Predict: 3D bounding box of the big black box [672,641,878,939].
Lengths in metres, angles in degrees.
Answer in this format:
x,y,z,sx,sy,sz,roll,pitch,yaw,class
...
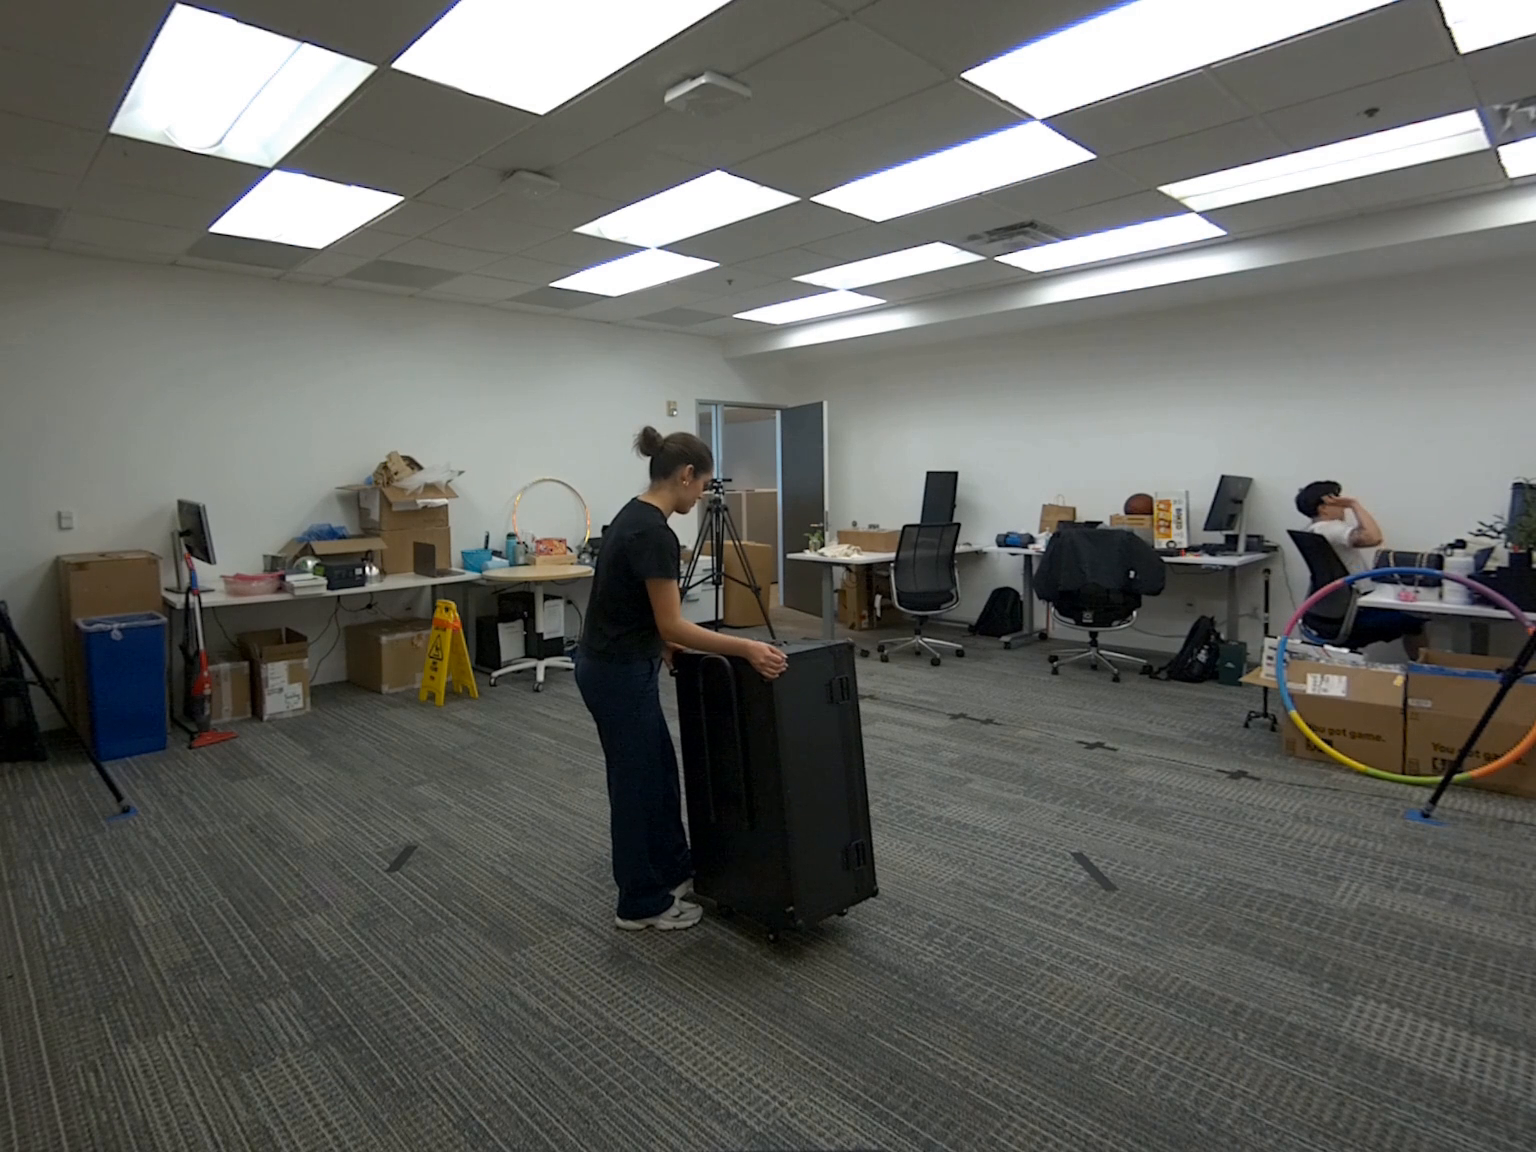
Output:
x,y,z,sx,sy,sz,roll,pitch,yaw,class
0.016,0.645,2.711,0.386,0.862,0.534,-5,-1,-40,big black box
